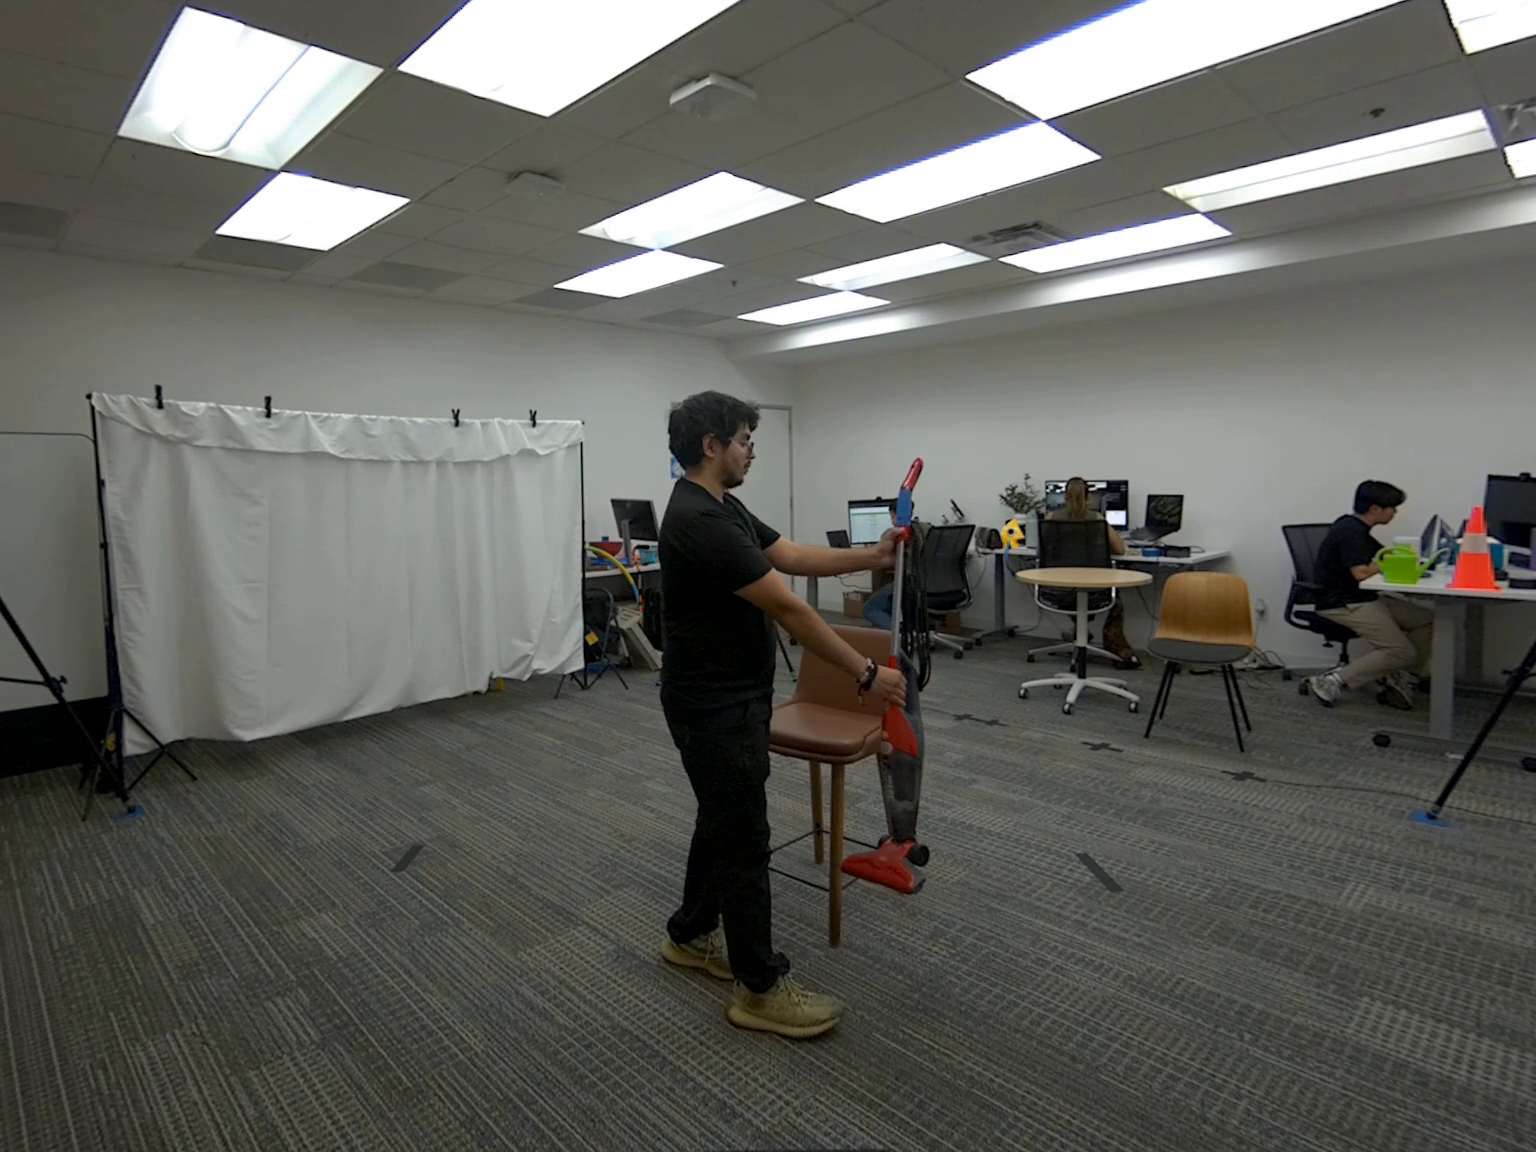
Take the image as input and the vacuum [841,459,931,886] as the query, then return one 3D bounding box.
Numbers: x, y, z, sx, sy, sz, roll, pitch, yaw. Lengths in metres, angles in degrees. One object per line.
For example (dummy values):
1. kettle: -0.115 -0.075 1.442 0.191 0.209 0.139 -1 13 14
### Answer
1. vacuum: 0.366 0.201 2.225 0.140 1.058 0.258 12 -12 -30
